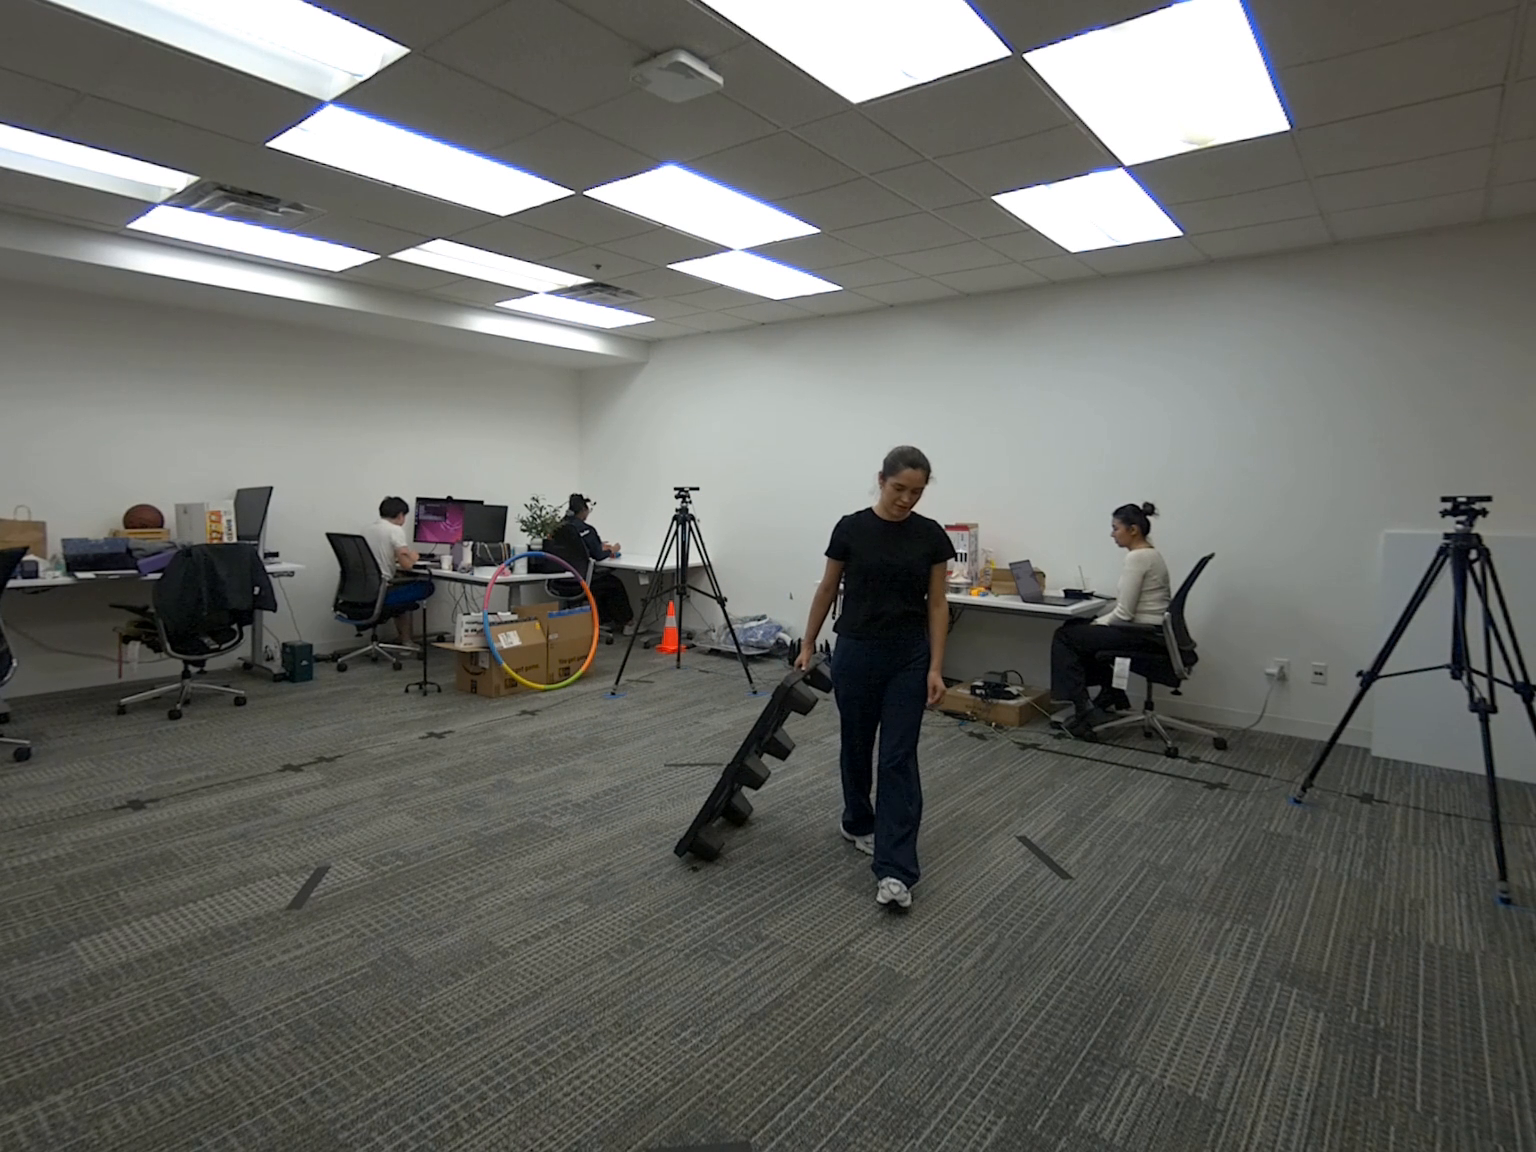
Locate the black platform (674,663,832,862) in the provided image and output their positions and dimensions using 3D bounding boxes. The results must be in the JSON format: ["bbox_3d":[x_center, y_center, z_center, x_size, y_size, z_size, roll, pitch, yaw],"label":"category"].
[{"bbox_3d":[0.004,0.697,3.319,0.146,0.802,0.595,33,13,13],"label":"black platform"}]
